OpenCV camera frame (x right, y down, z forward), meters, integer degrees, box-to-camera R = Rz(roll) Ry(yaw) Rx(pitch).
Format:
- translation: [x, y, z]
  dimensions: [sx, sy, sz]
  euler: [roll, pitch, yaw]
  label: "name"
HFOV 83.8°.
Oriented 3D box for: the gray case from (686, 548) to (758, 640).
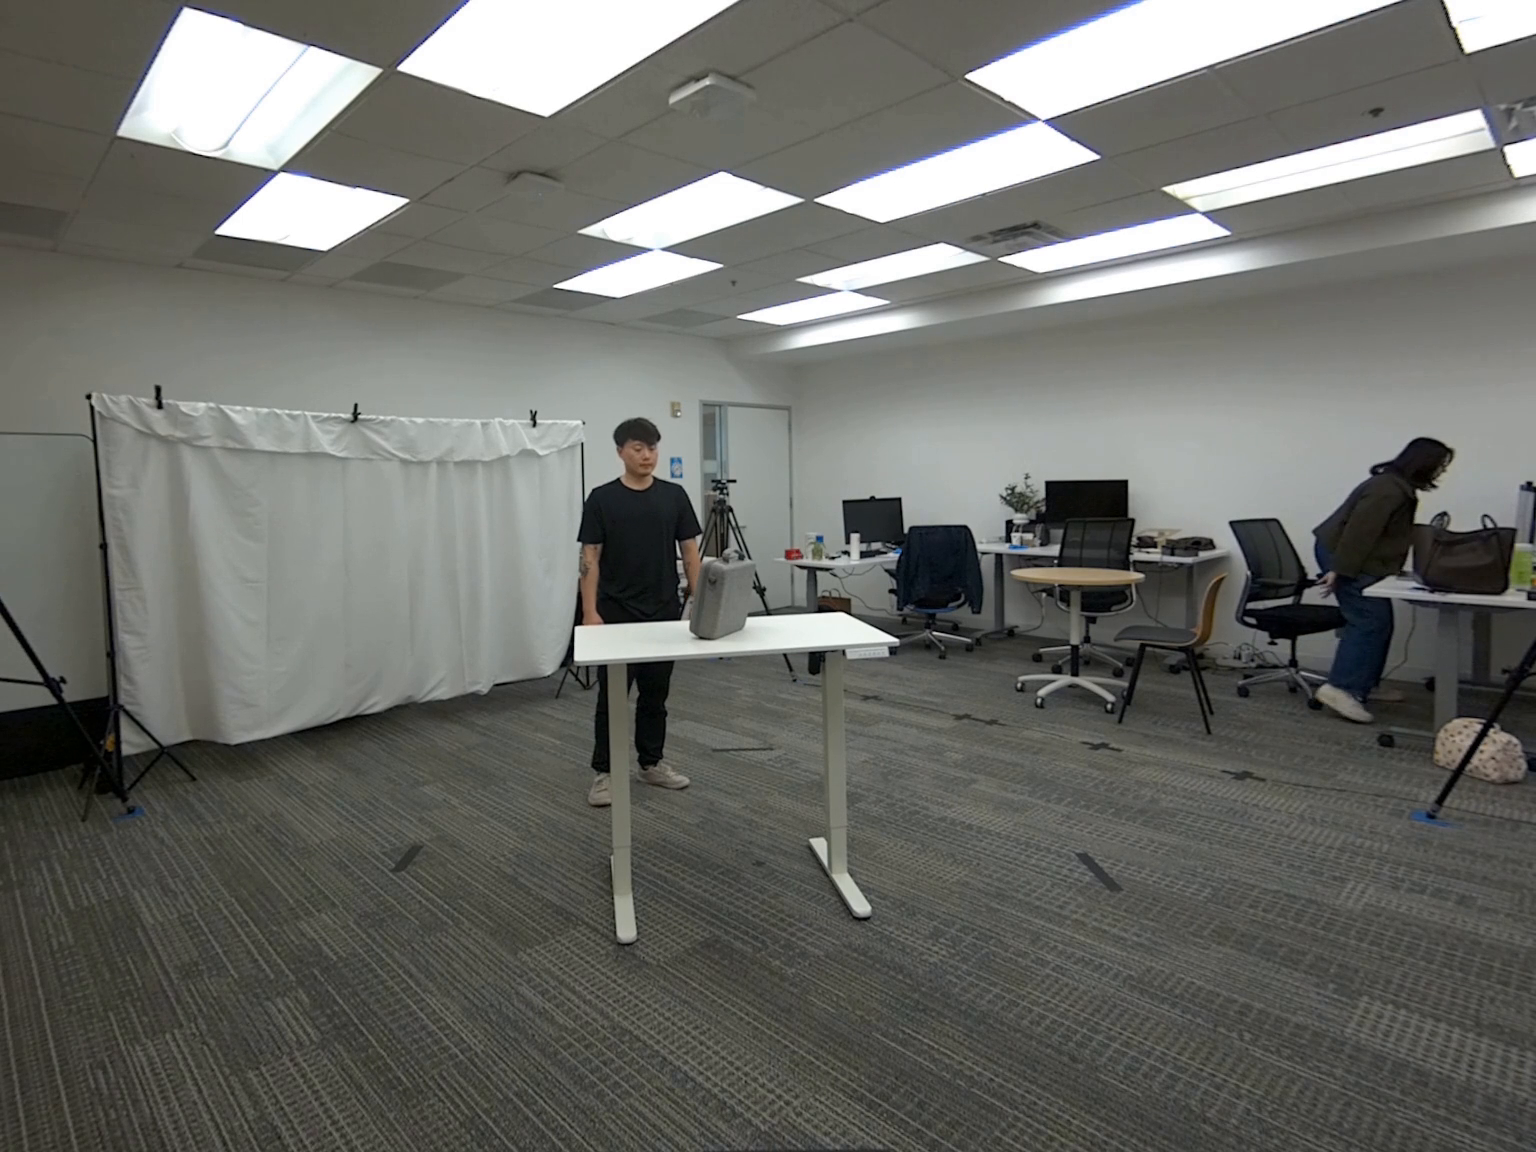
- translation: [-0.150, 0.067, 2.858]
  dimensions: [0.107, 0.258, 0.253]
  euler: [12, 11, 22]
  label: "gray case"
